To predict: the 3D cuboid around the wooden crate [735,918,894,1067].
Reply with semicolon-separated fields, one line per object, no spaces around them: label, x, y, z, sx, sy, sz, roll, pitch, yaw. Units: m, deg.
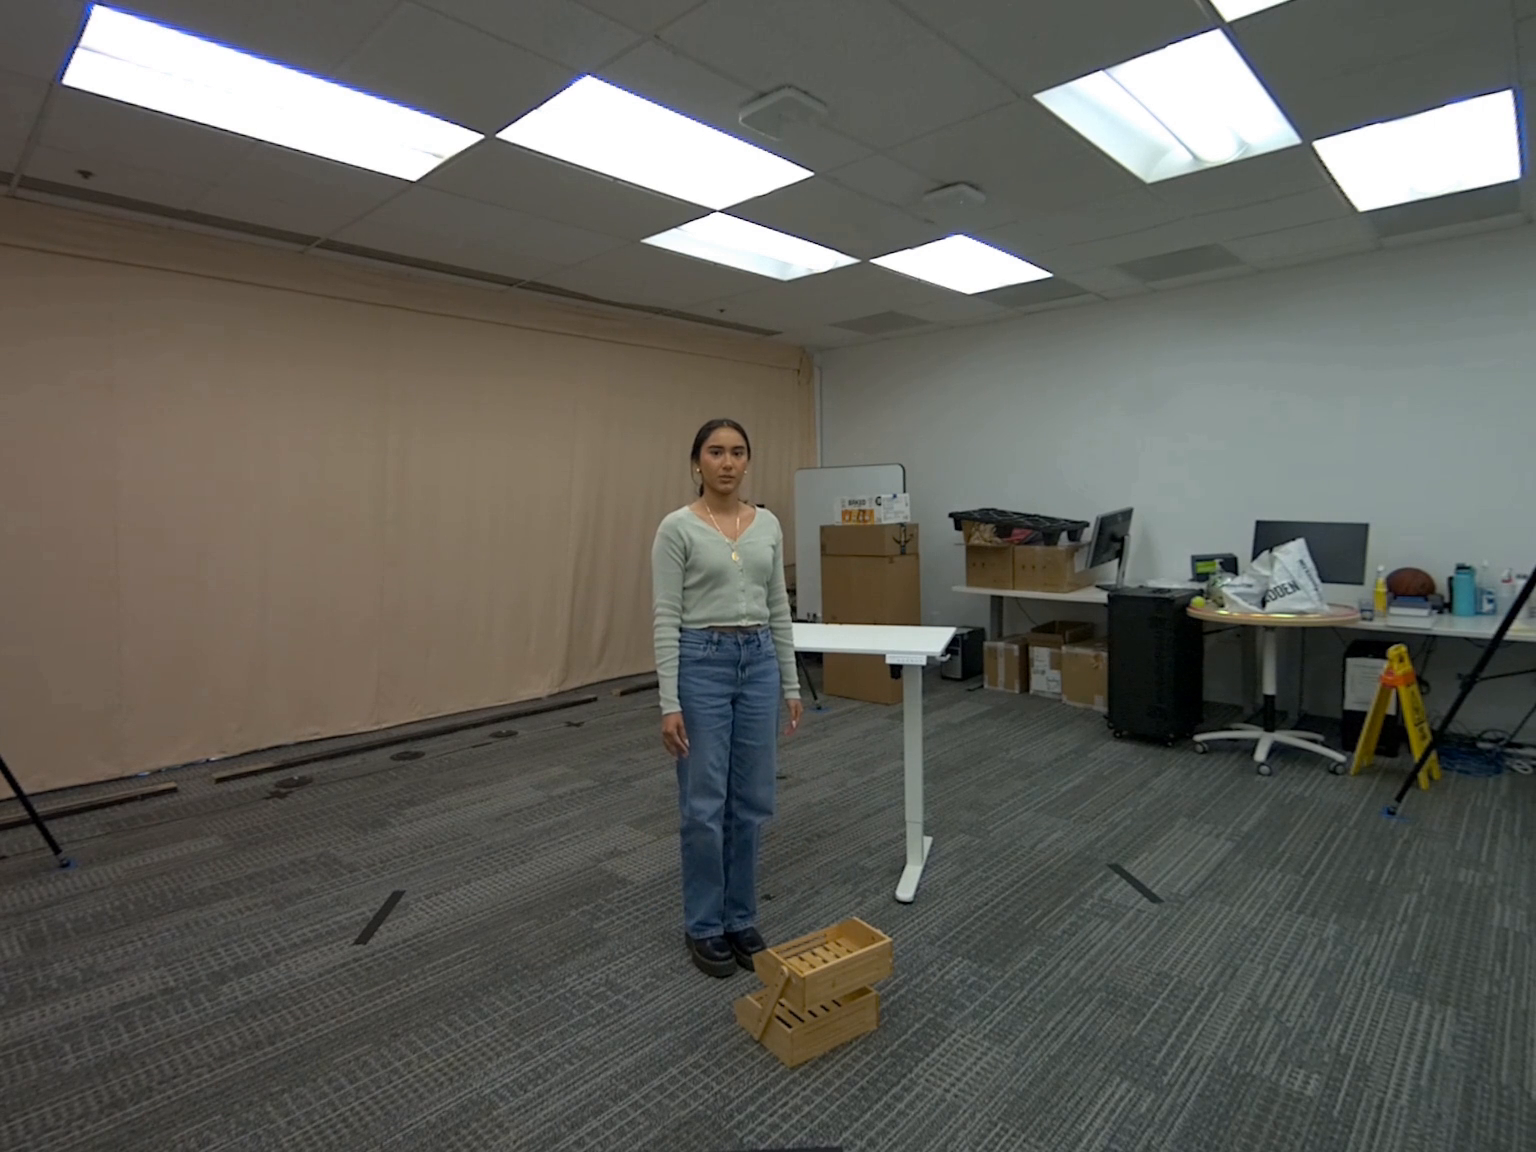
wooden crate;0.120;1.070;2.224;0.315;0.272;0.311;-3;5;-35
